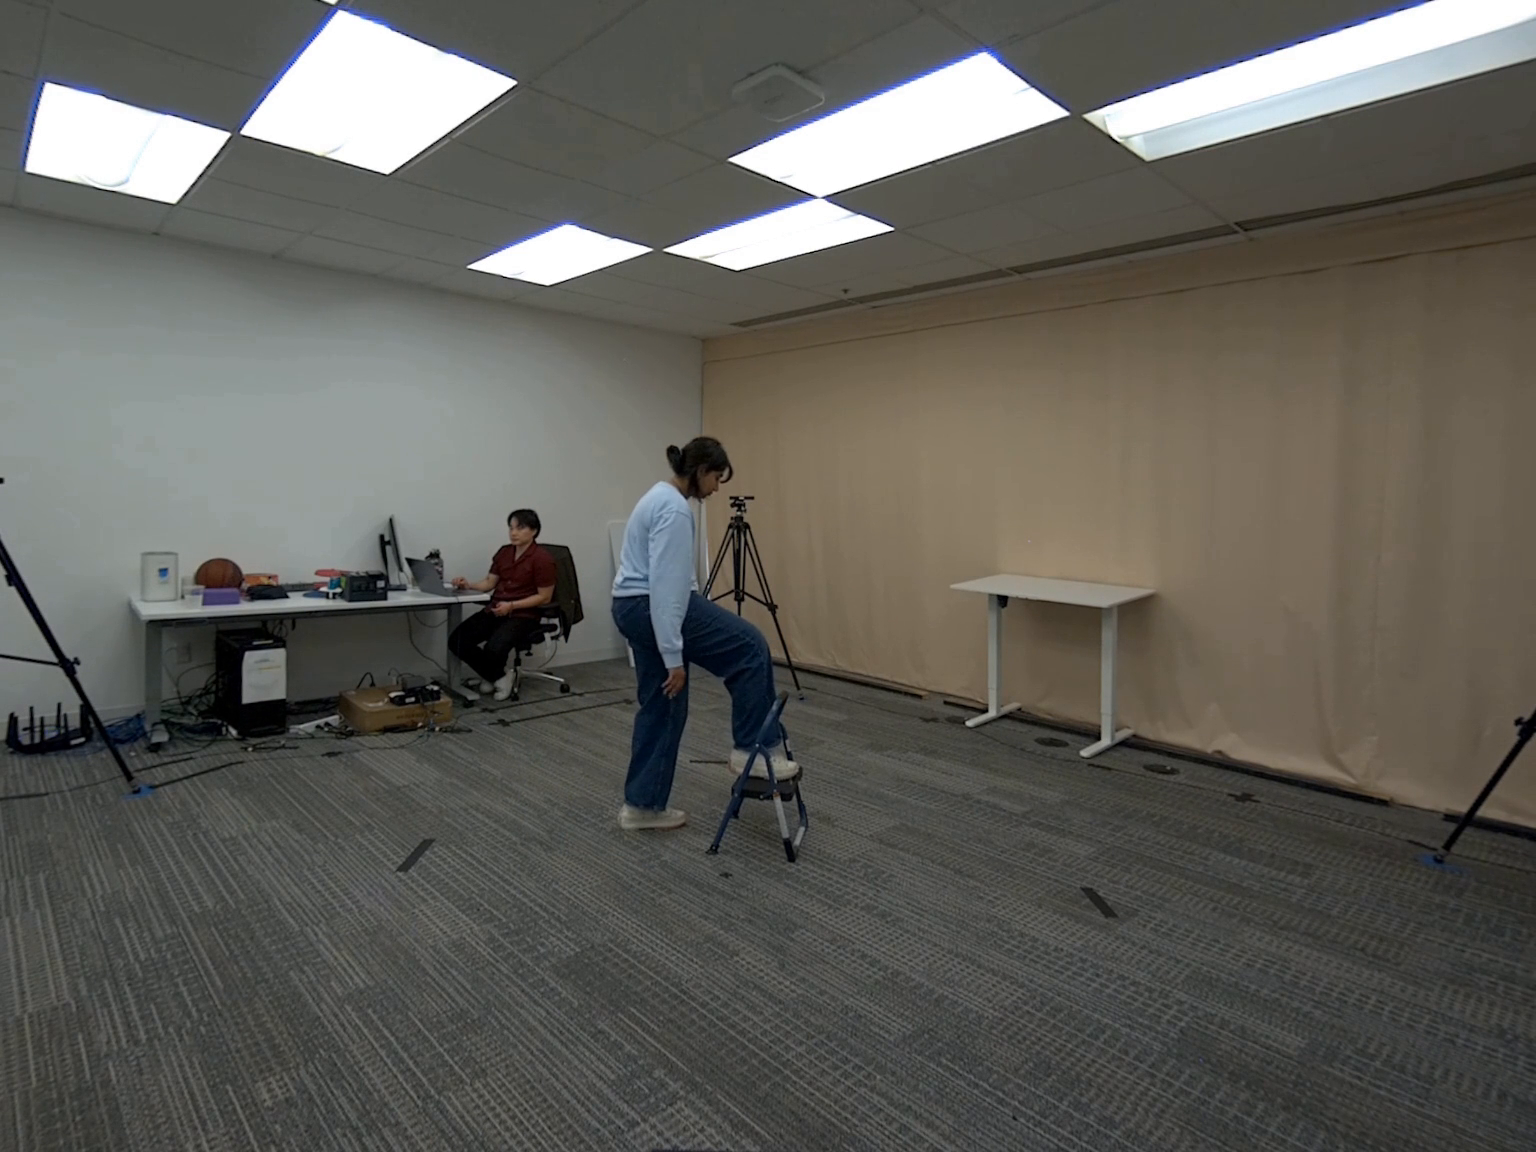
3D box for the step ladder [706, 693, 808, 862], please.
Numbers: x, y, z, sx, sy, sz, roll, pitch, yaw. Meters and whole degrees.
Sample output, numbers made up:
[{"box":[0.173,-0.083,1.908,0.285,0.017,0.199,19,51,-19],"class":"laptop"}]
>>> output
[{"box":[-0.031,0.777,3.436,0.352,0.604,0.428,2,4,10],"class":"step ladder"}]
